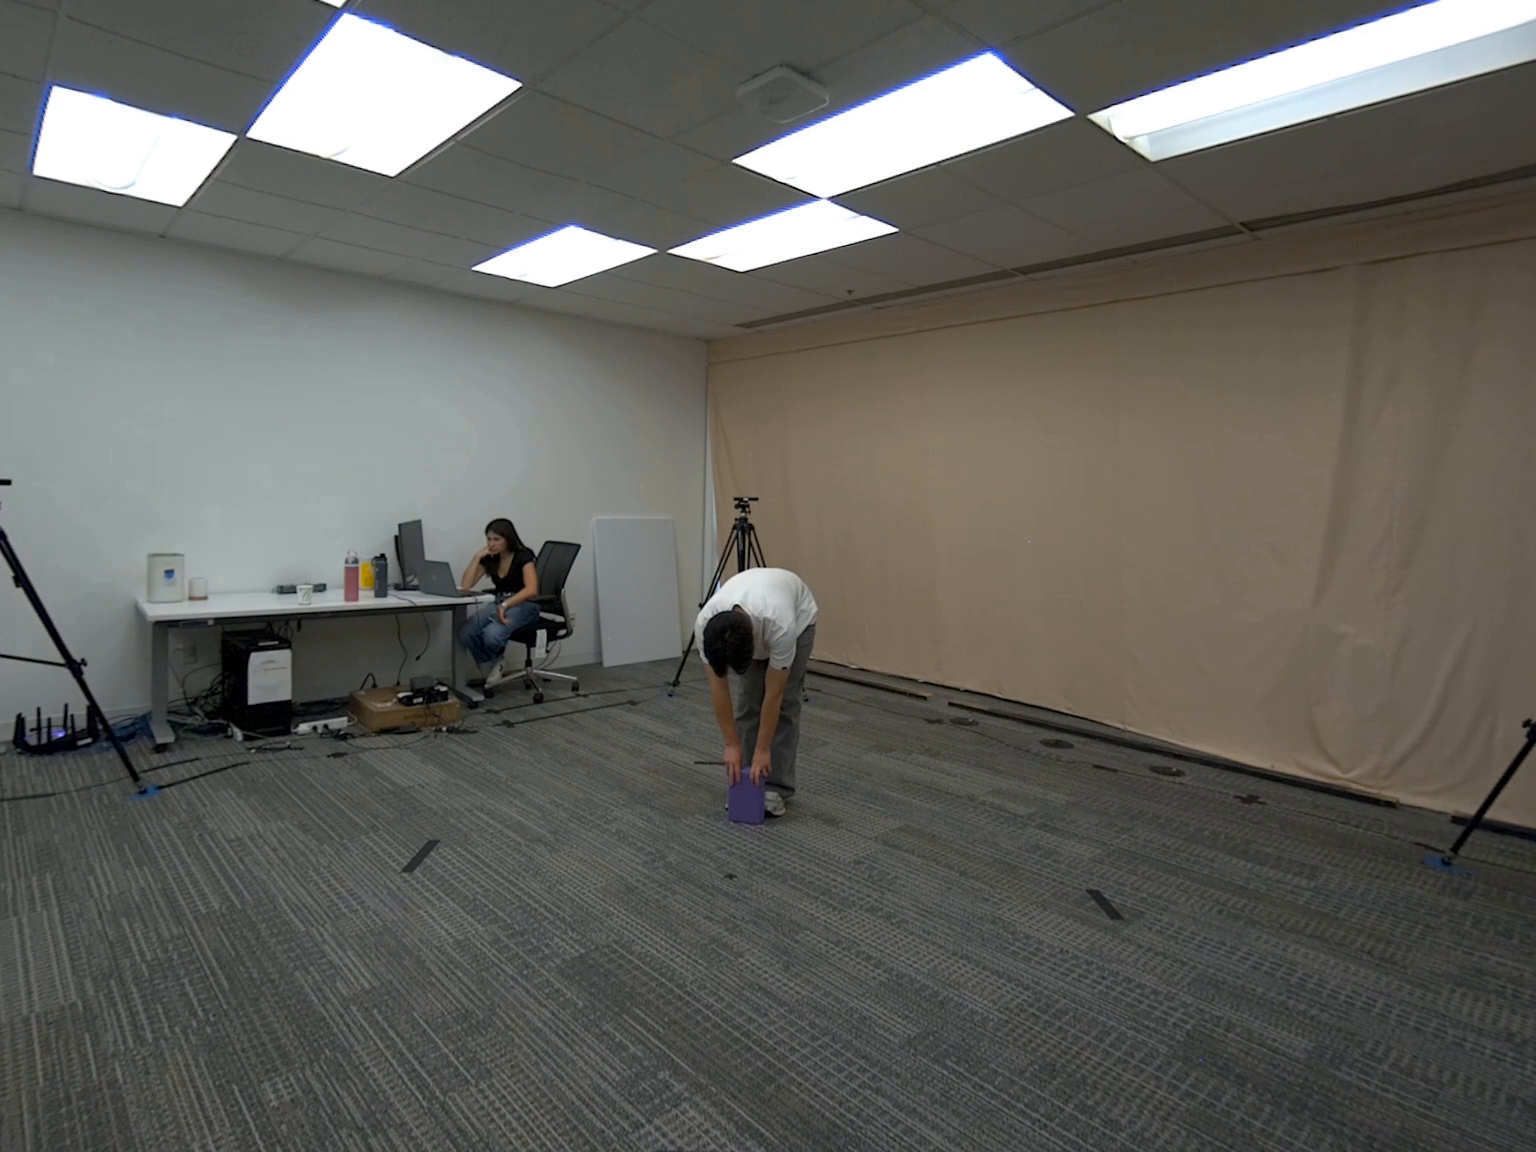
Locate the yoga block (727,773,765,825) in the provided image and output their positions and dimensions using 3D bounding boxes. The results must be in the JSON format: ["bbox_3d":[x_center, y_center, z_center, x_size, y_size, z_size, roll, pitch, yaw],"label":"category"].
[{"bbox_3d":[-0.114,0.961,3.644,0.150,0.229,0.076,1,3,11],"label":"yoga block"}]
